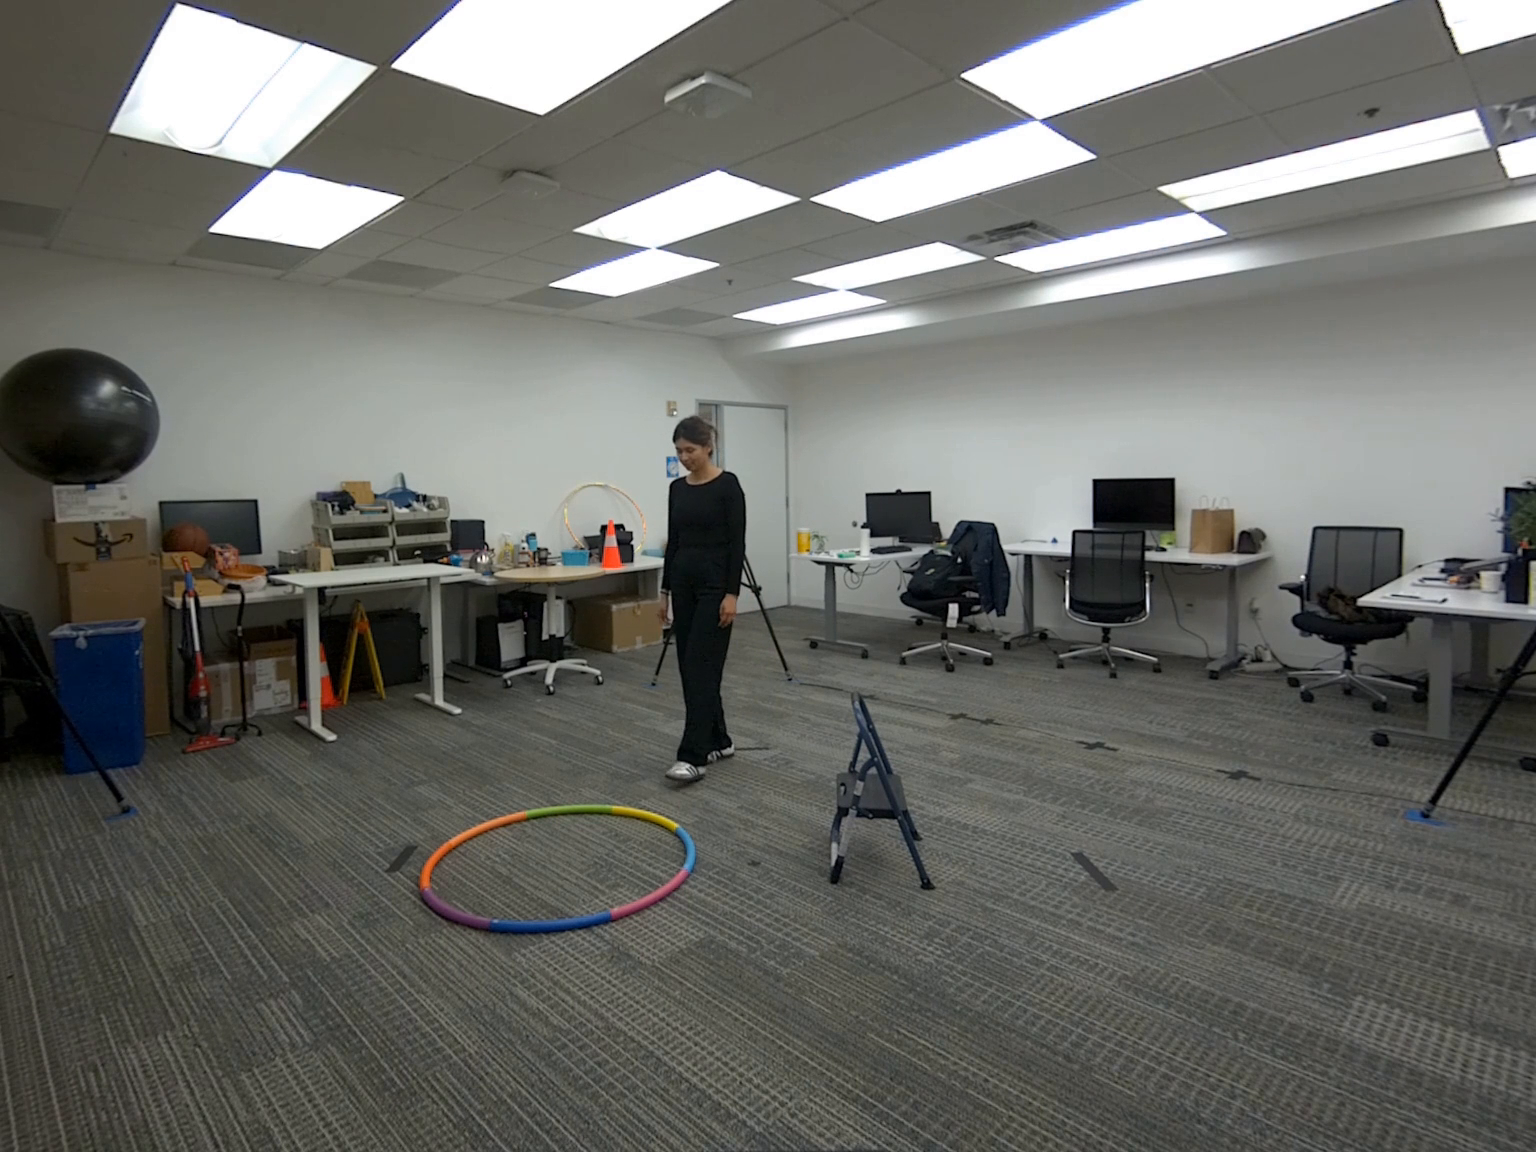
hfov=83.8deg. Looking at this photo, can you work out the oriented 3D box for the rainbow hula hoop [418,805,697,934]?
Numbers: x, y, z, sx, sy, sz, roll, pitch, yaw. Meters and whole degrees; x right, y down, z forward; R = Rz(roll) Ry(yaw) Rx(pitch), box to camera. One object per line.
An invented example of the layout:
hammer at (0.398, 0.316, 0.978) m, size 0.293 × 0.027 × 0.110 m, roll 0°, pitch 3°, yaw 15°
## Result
rainbow hula hoop at (-0.746, 1.019, 3.132) m, size 0.978 × 0.035 × 0.984 m, roll -1°, pitch 7°, yaw -2°
